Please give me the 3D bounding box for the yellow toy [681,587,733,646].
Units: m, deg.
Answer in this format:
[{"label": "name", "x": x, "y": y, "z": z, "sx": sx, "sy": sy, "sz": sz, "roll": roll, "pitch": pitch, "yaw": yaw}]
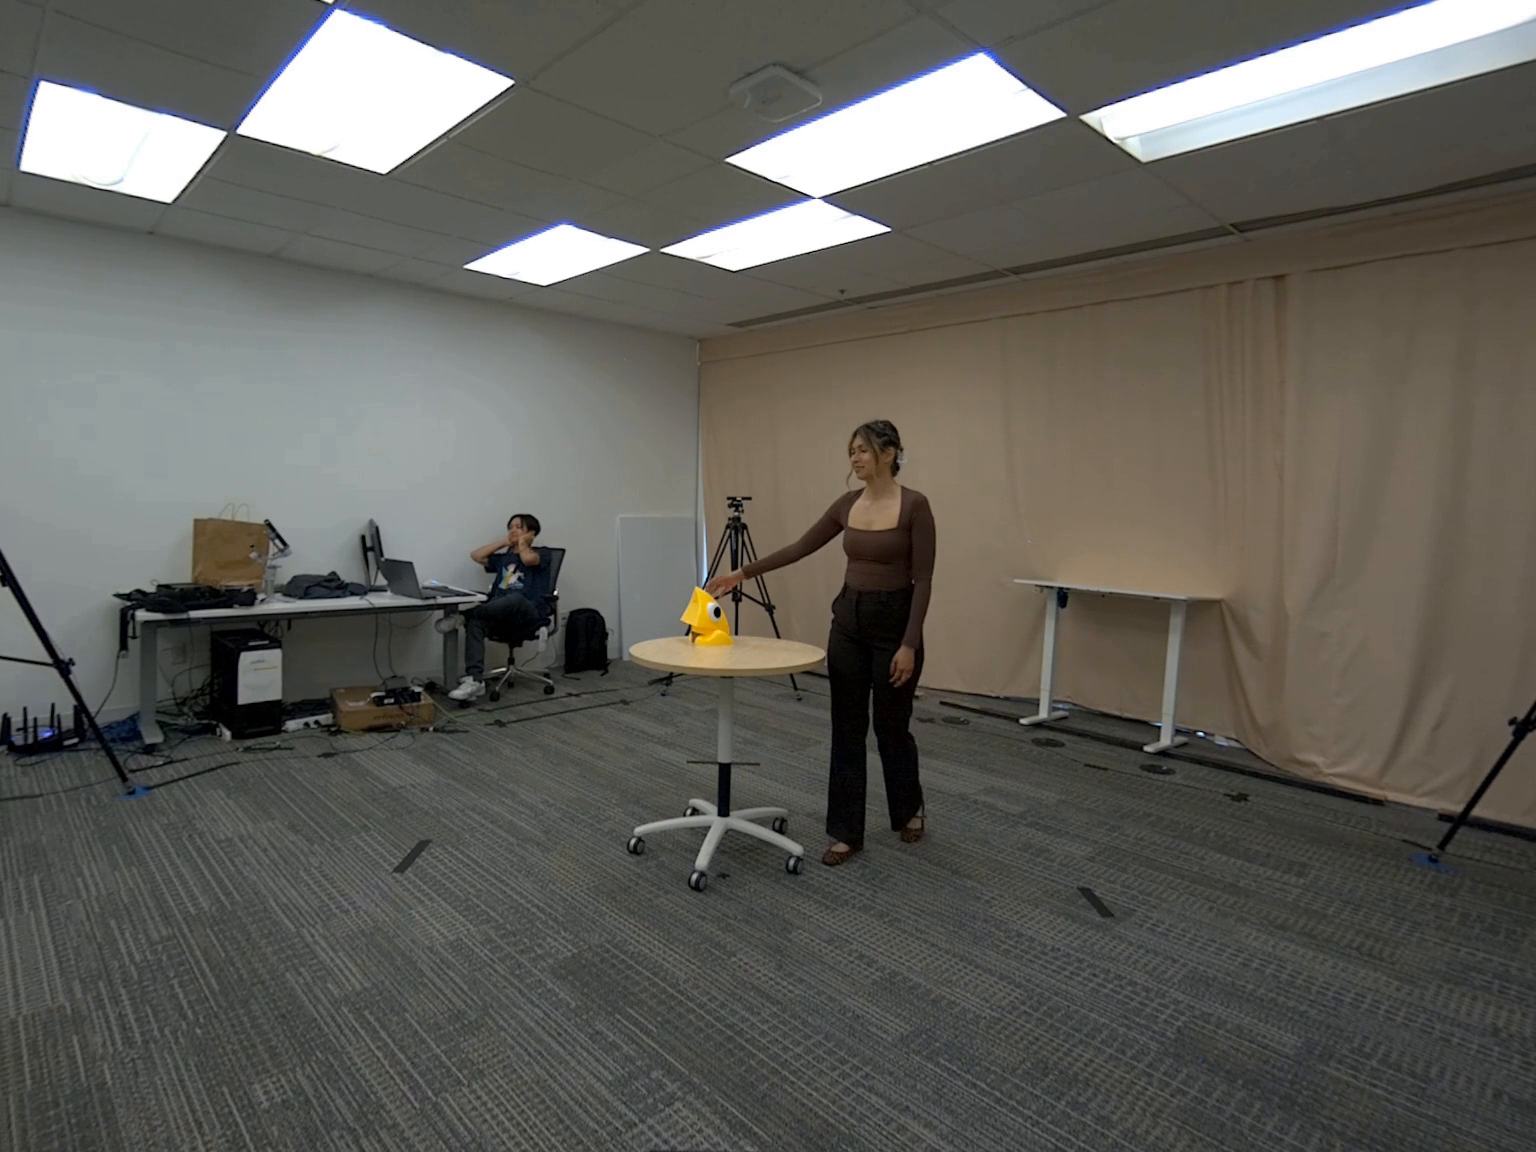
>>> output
[{"label": "yellow toy", "x": -0.249, "y": 0.160, "z": 3.503, "sx": 0.190, "sy": 0.230, "sz": 0.209, "roll": 0, "pitch": 3, "yaw": -23}]
